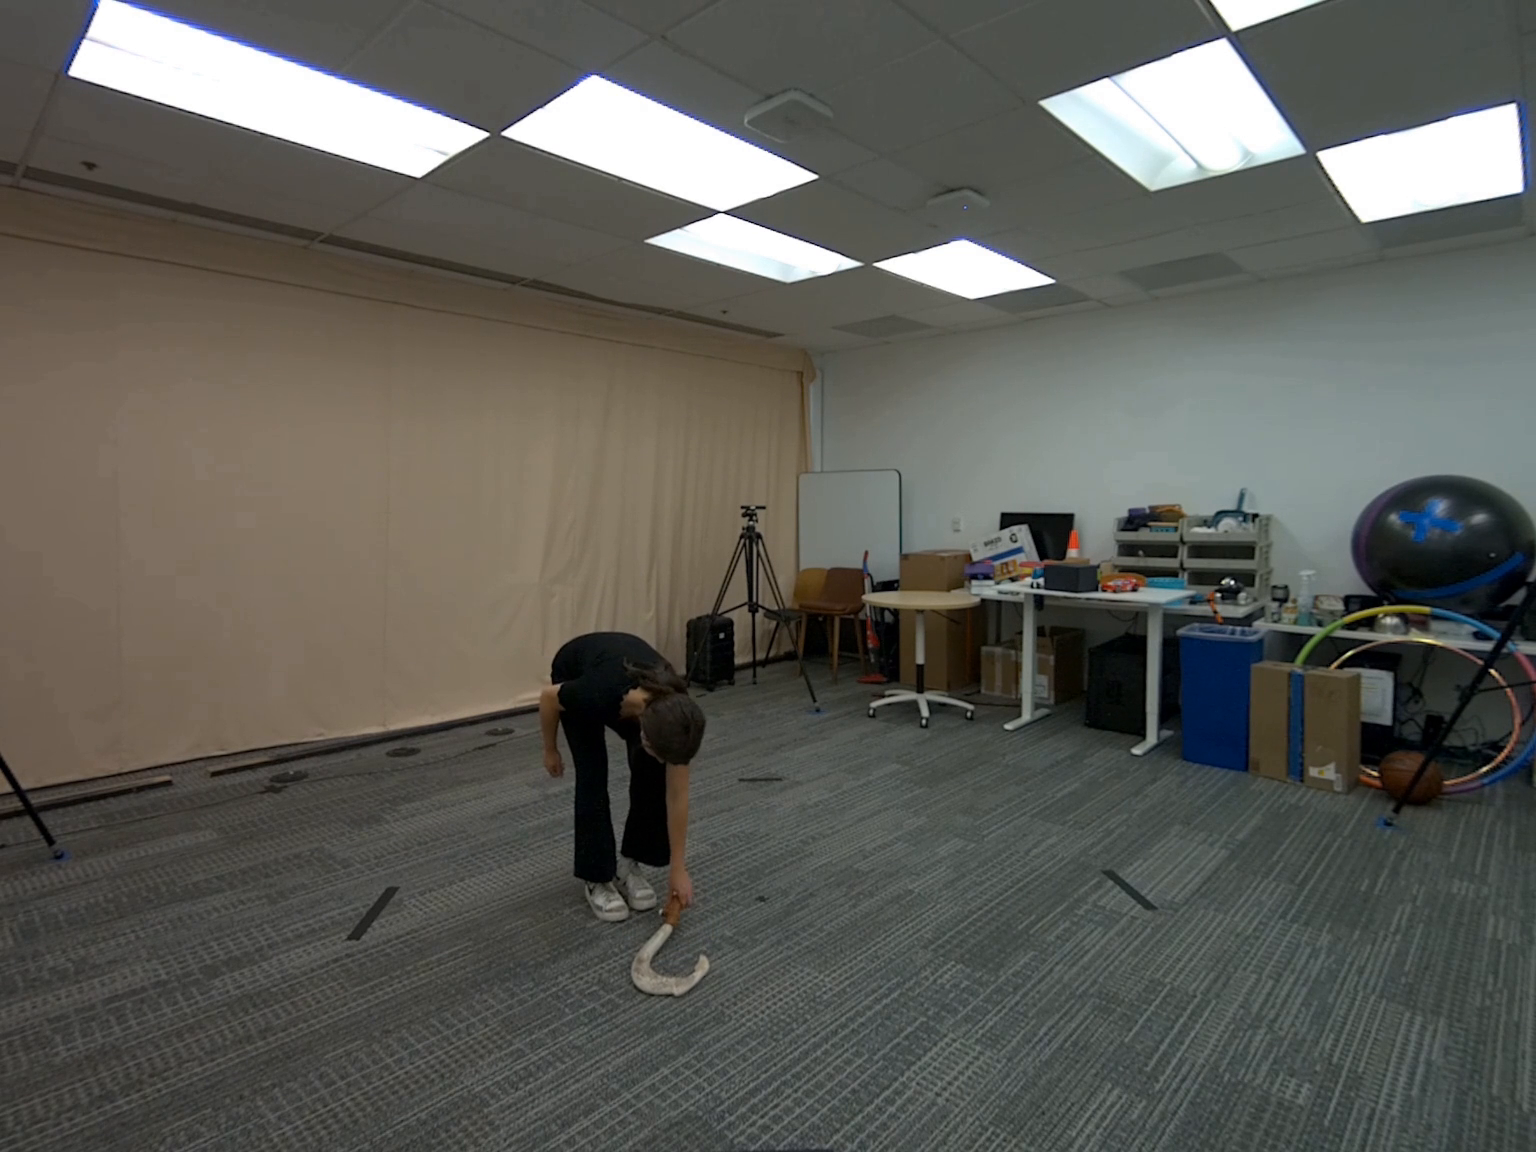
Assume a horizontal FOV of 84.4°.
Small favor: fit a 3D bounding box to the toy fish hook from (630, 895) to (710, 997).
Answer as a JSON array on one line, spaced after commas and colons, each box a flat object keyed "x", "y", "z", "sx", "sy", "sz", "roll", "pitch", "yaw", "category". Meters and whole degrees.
[{"x": -0.277, "y": 1.138, "z": 2.630, "sx": 0.226, "sy": 0.048, "sz": 0.506, "roll": 7, "pitch": 11, "yaw": 4, "category": "toy fish hook"}]
